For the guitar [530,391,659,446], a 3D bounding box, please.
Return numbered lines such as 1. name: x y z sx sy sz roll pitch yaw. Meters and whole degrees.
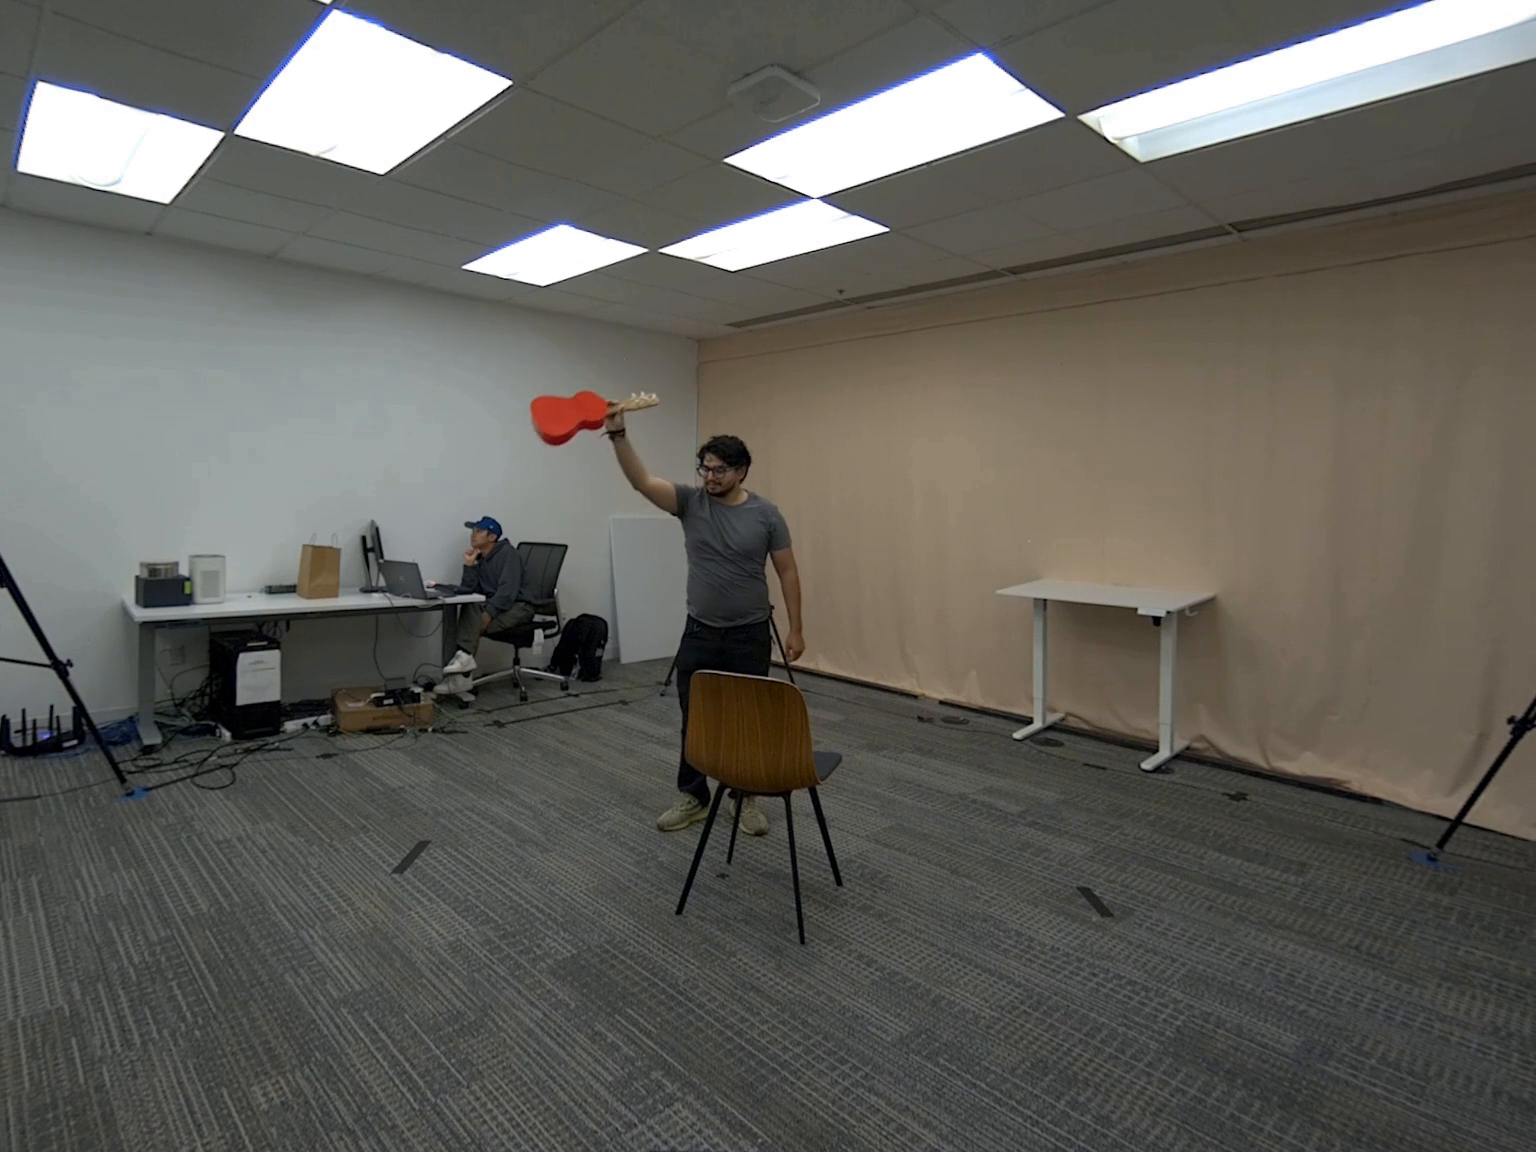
1. guitar: -0.654 -0.621 3.129 0.494 0.197 0.070 -30 -21 -29
